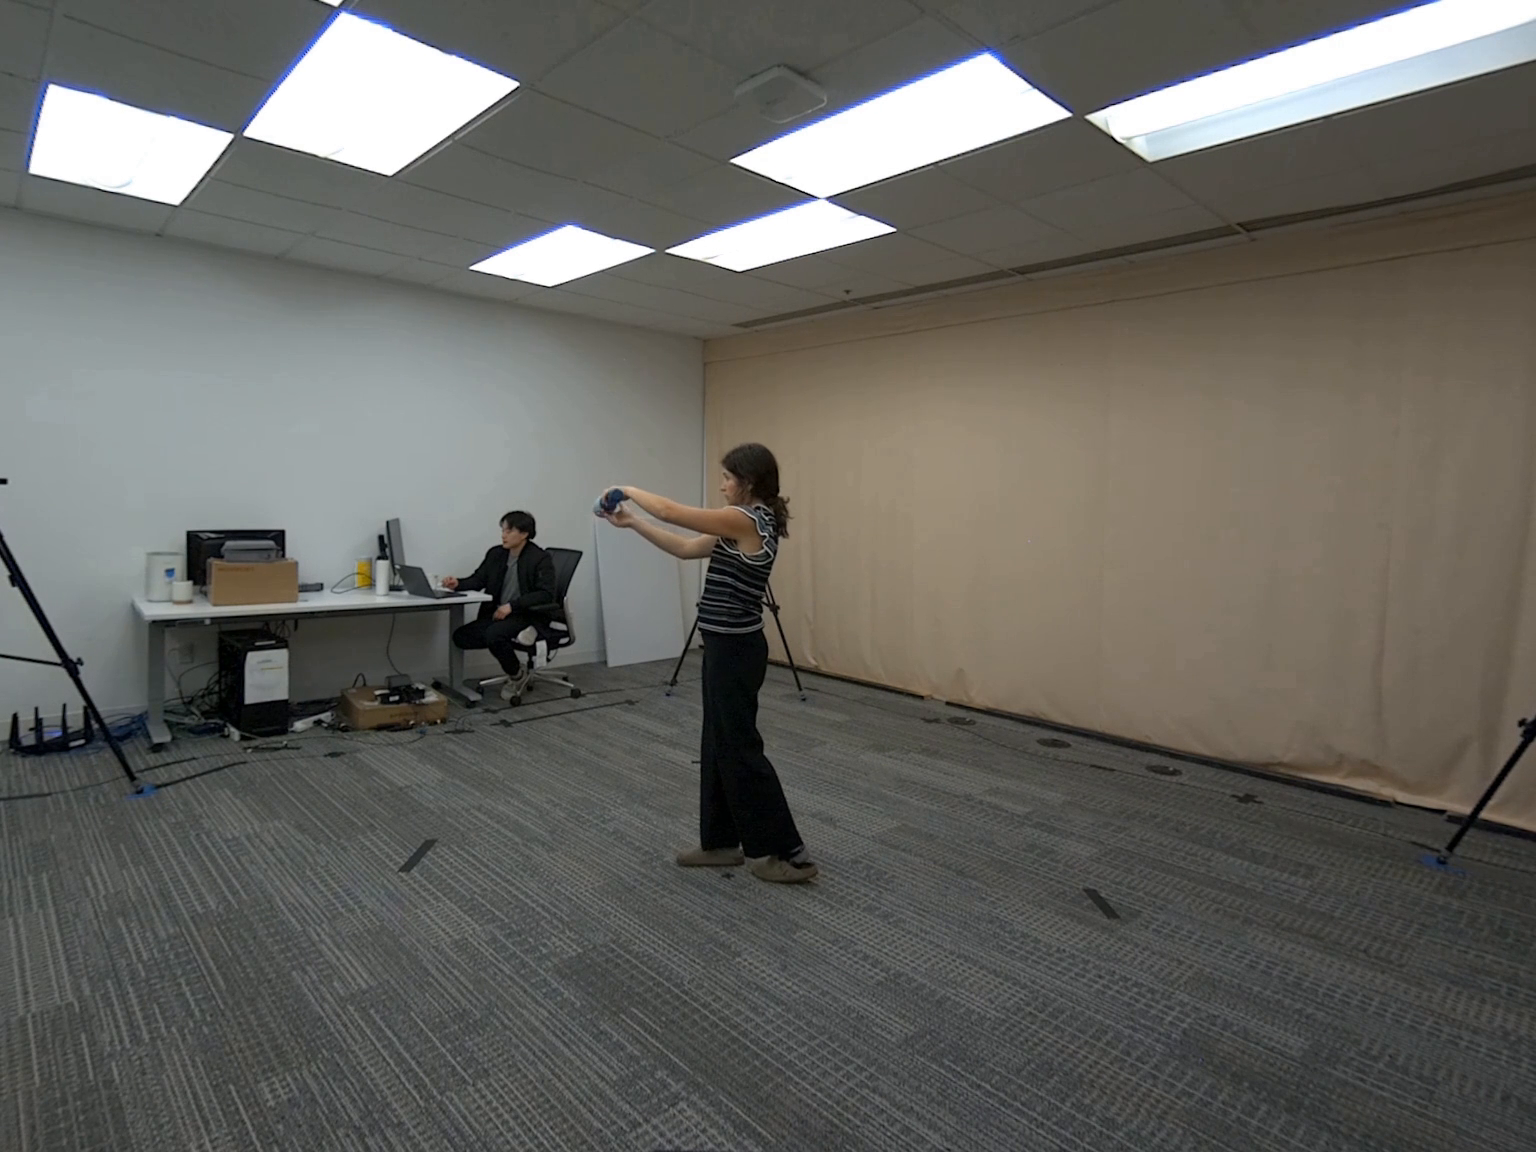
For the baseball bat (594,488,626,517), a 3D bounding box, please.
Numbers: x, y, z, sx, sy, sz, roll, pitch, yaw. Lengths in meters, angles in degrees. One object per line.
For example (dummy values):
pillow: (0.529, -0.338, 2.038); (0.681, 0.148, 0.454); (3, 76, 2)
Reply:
baseball bat: (-0.626, -0.279, 3.258); (0.088, 0.089, 0.547); (1, 3, -10)
